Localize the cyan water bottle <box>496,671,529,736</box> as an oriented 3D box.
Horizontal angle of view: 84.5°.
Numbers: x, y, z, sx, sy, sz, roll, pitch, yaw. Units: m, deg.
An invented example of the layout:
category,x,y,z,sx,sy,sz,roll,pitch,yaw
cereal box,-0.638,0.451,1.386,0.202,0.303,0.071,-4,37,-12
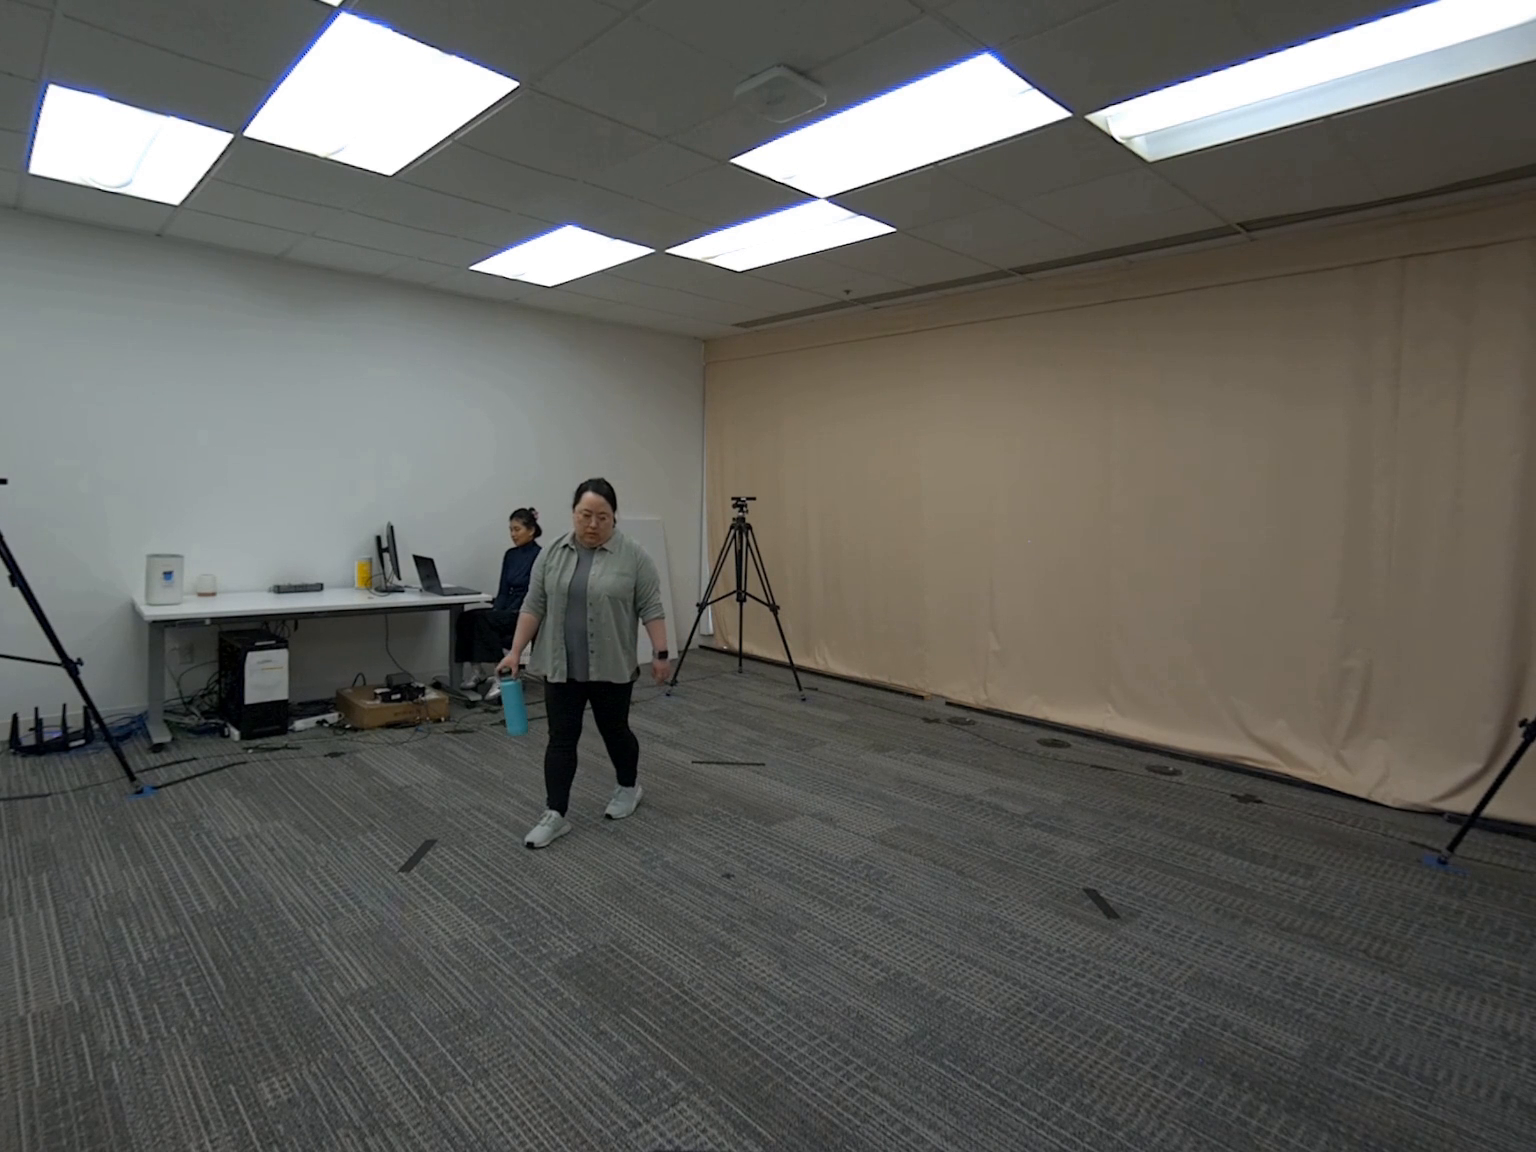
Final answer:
category,x,y,z,sx,sy,sz,roll,pitch,yaw
cyan water bottle,-1.056,0.514,3.488,0.092,0.282,0.092,-6,4,-1
